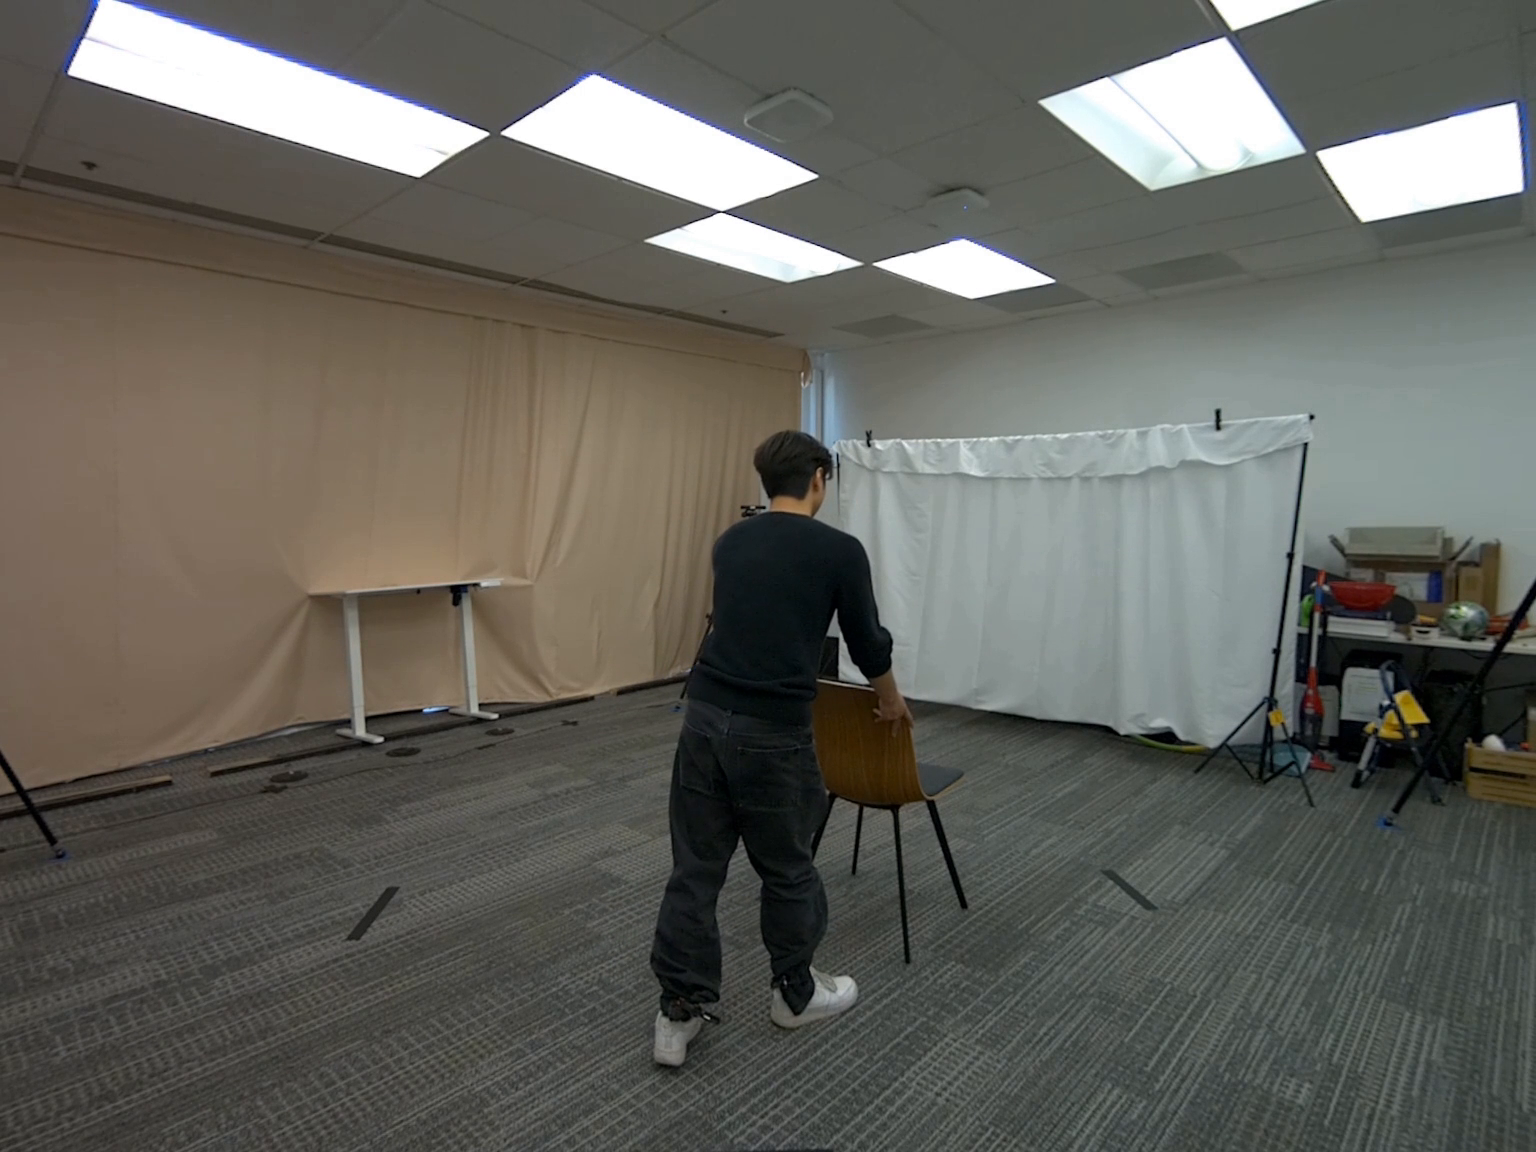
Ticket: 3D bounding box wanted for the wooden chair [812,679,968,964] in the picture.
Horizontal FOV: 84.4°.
[{"bbox_3d":[0.379,0.723,2.843,0.493,0.873,0.509,2,9,37],"label":"wooden chair"}]
